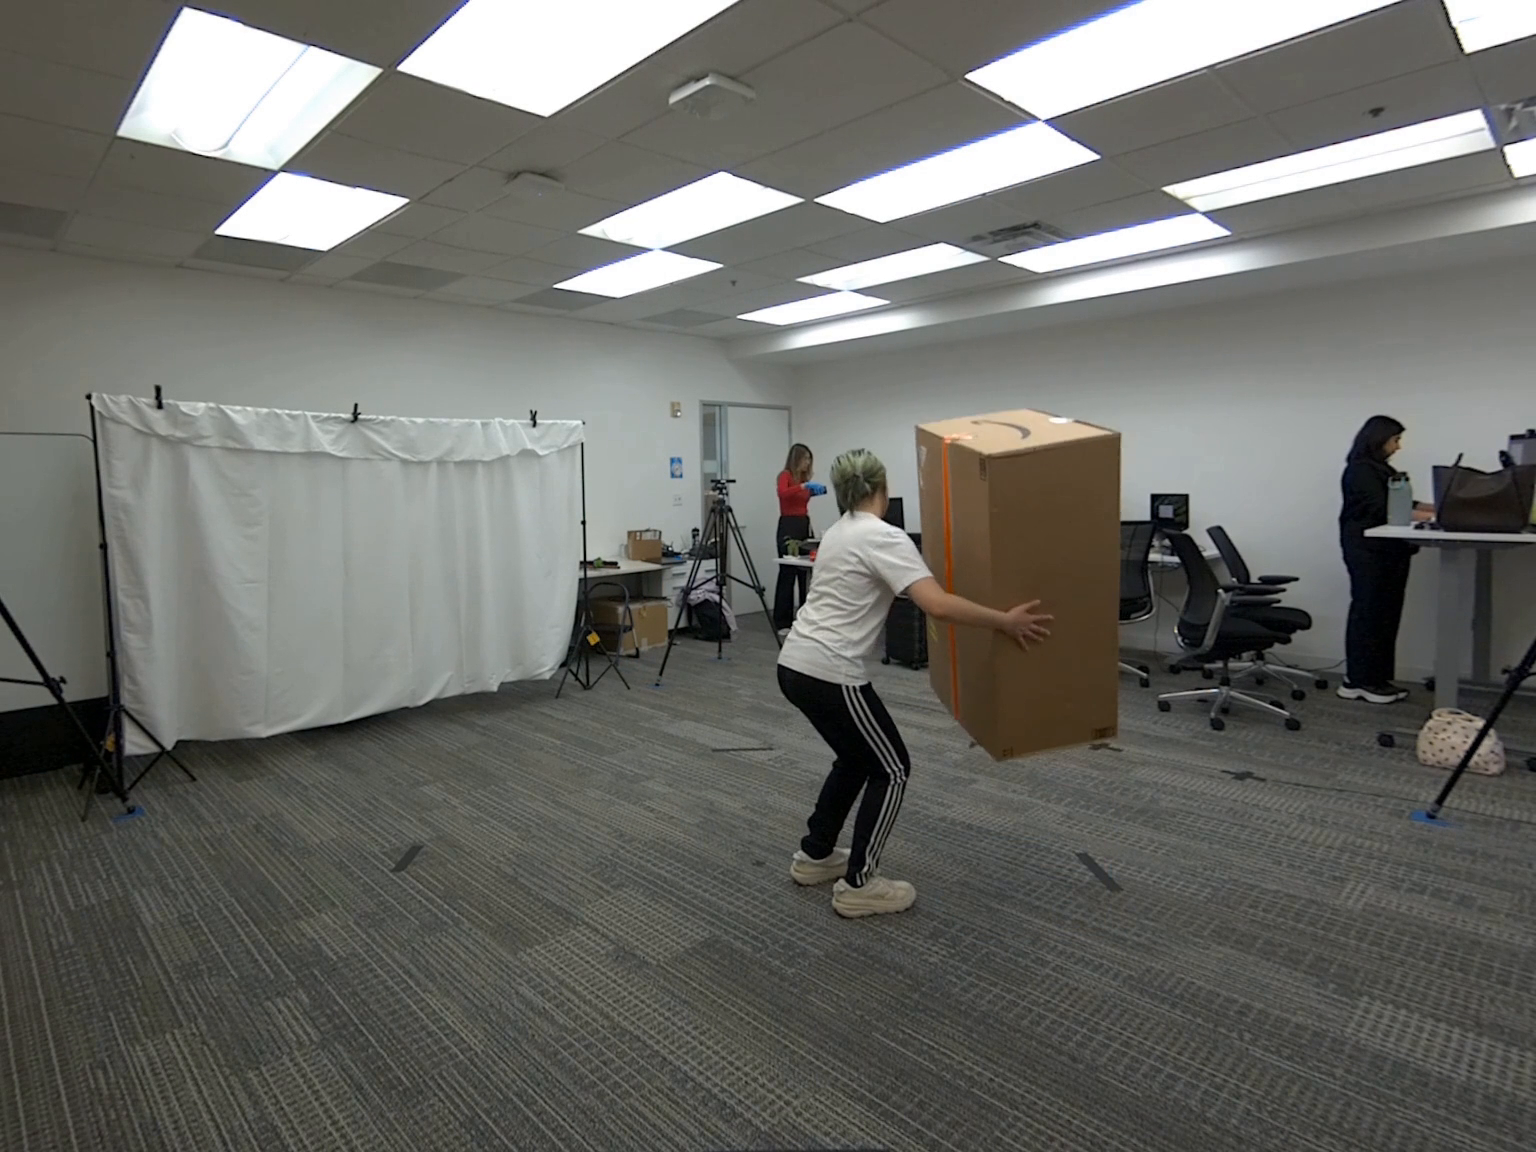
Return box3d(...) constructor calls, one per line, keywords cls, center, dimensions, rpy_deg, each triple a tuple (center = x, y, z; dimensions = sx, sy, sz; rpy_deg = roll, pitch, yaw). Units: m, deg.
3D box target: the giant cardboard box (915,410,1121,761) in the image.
box3d(cls="giant cardboard box", center=(0.829, 0.004, 2.895), dimensions=(0.444, 1.010, 0.598), rpy_deg=(-9, 17, -9))
